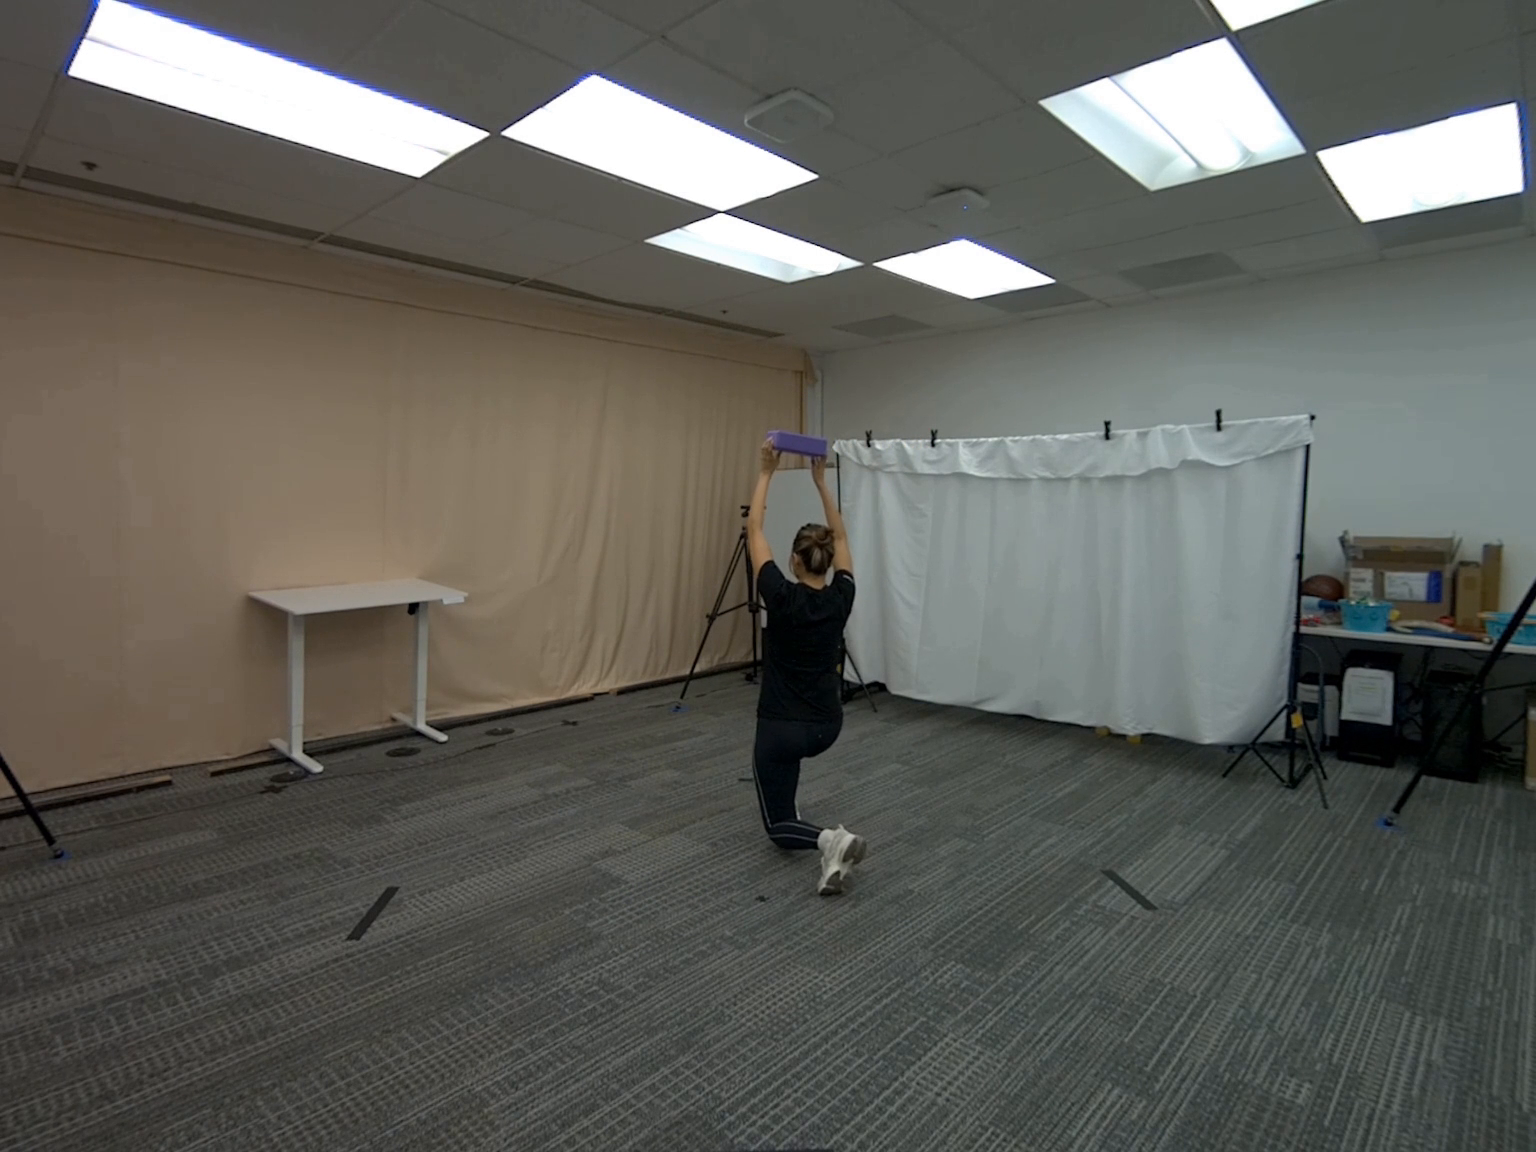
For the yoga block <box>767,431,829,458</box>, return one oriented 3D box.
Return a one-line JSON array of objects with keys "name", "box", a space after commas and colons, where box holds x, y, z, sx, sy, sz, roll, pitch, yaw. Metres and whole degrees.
[{"name": "yoga block", "box": [0.117, -0.573, 3.573, 0.226, 0.076, 0.151, 5, 7, -13]}]
